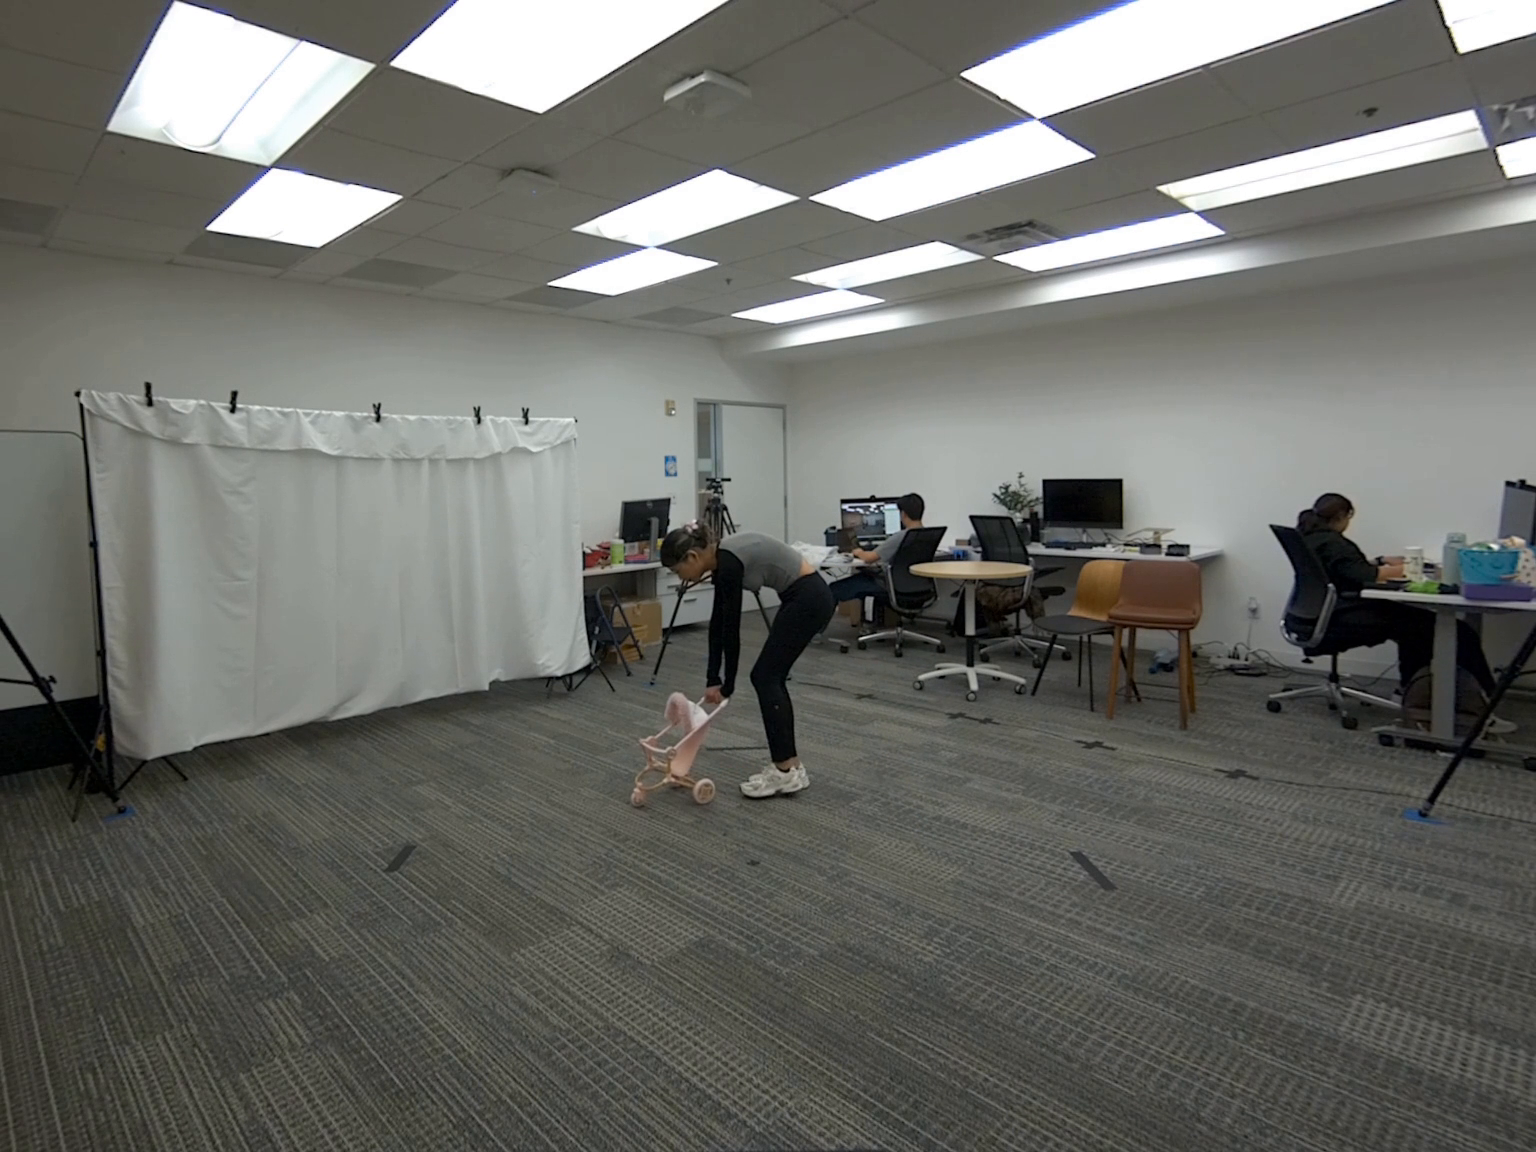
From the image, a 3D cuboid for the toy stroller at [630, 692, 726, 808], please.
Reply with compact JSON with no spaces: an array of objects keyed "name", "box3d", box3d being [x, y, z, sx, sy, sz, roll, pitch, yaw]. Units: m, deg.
[{"name":"toy stroller","box3d":[-0.400,0.750,3.744,0.332,0.536,0.289,13,-3,-27]}]
